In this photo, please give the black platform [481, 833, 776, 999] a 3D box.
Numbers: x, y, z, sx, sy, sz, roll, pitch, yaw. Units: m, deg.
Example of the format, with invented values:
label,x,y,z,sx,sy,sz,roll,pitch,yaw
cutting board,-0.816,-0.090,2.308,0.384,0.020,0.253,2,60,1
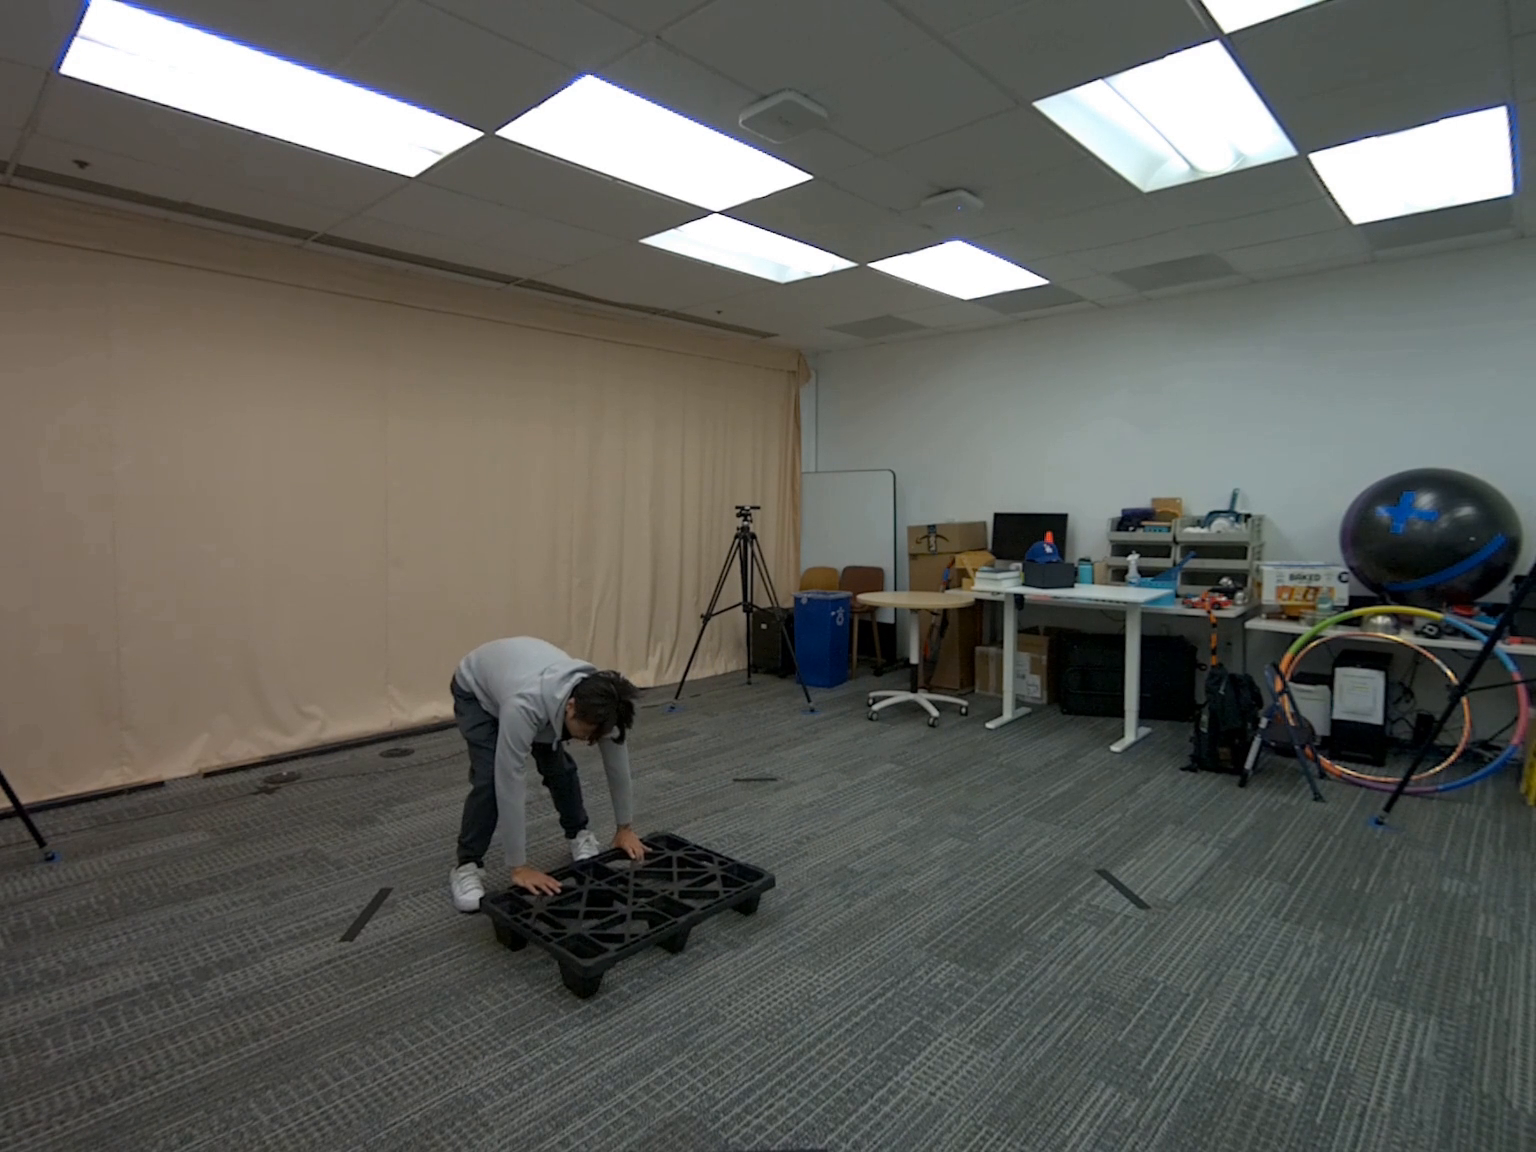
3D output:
label,x,y,z,sx,sy,sz,roll,pitch,yaw
black platform,-0.444,1.094,2.796,0.625,0.143,0.781,5,7,43
